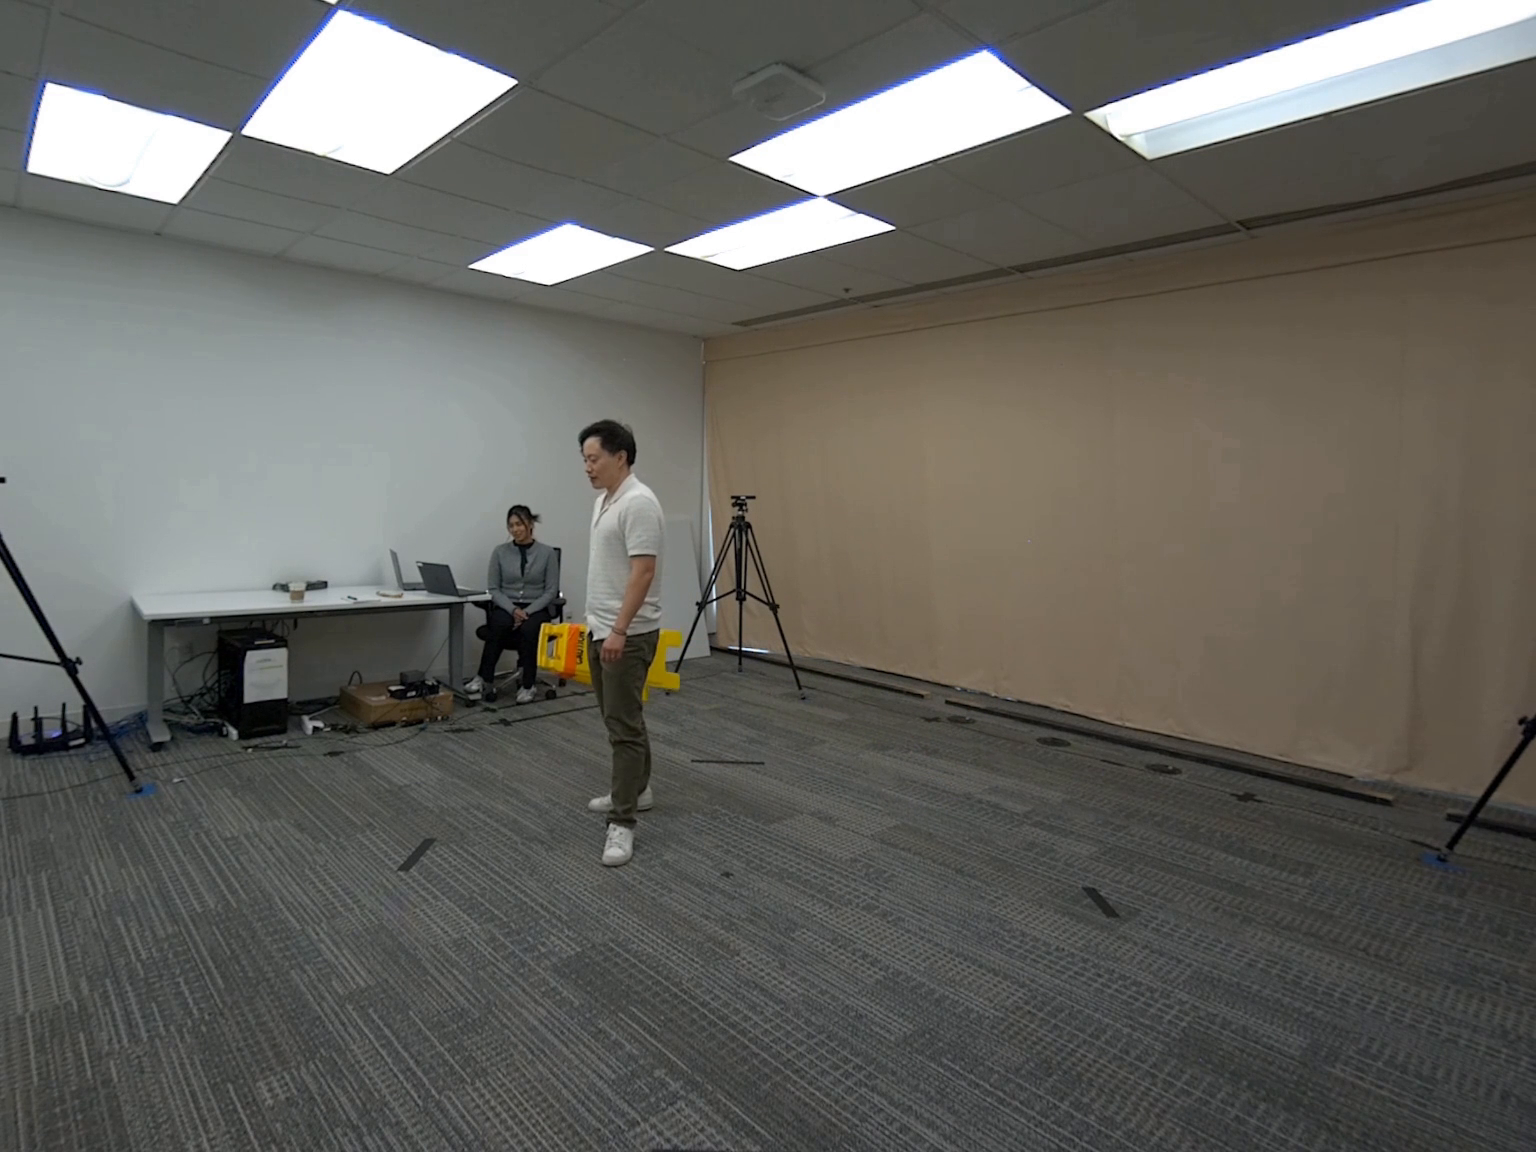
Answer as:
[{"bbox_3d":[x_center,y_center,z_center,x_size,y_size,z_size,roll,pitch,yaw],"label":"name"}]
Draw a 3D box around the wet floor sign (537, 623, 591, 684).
[{"bbox_3d":[-0.758,0.370,3.858,0.629,0.286,0.293,15,-25,-32],"label":"wet floor sign"}]
